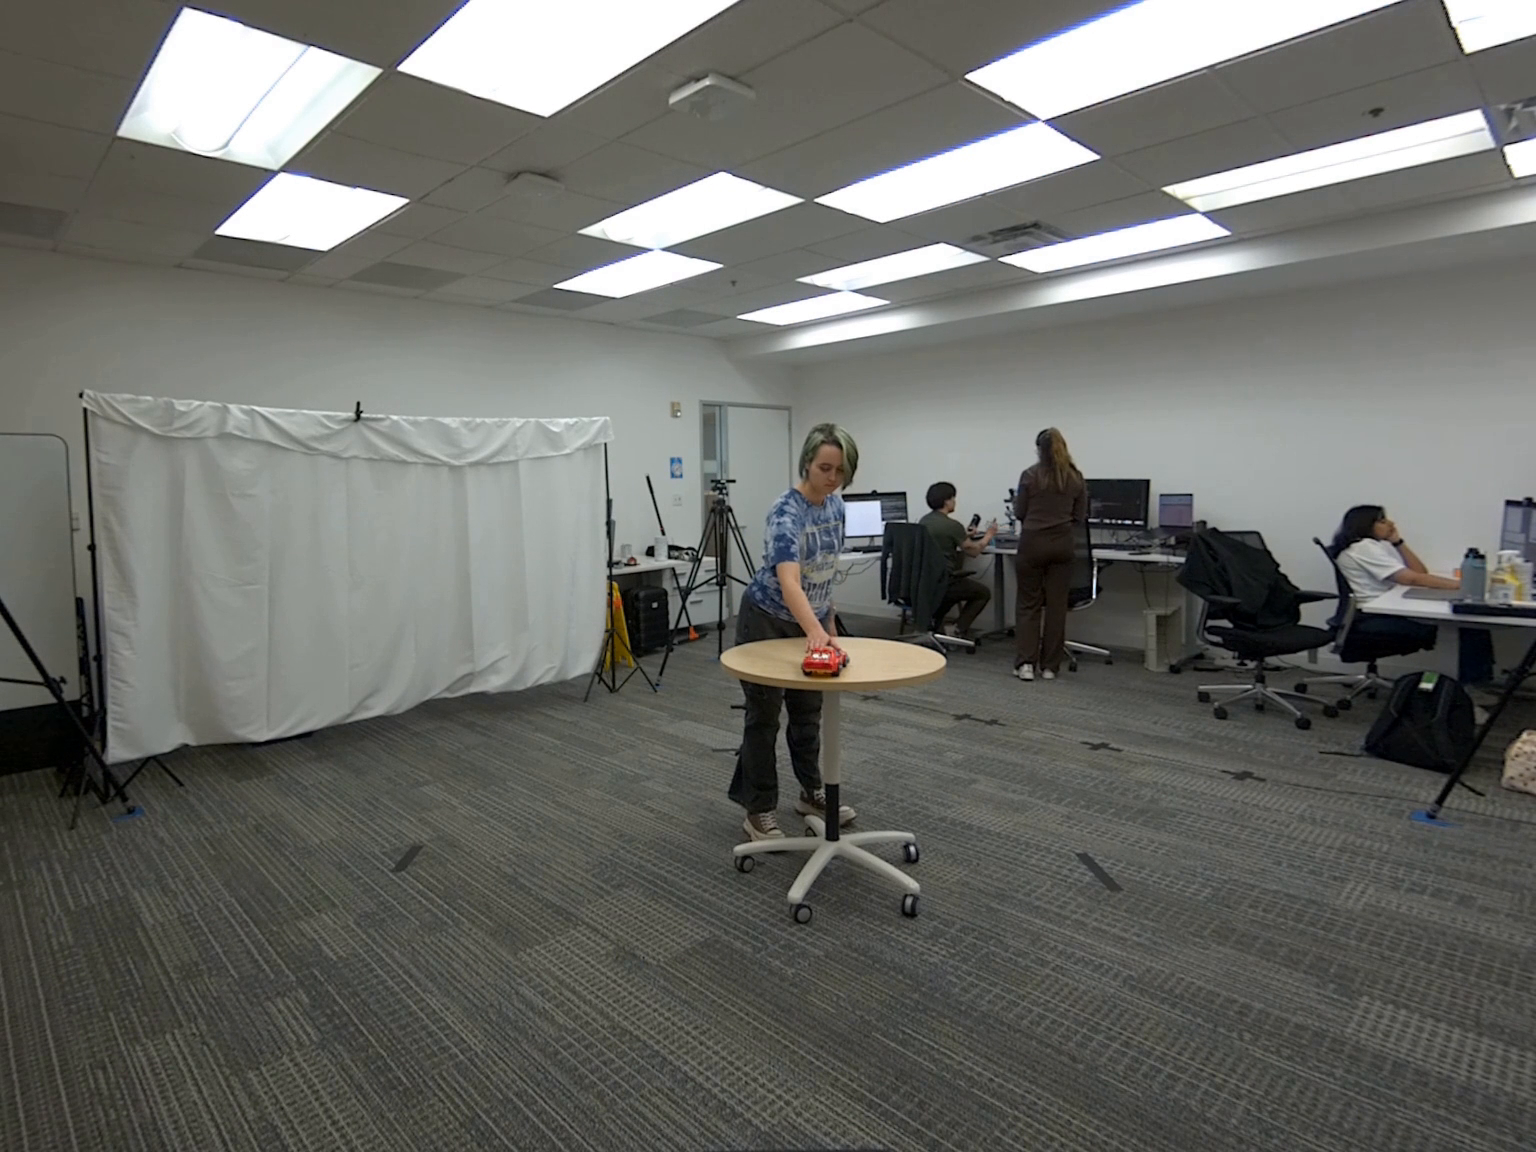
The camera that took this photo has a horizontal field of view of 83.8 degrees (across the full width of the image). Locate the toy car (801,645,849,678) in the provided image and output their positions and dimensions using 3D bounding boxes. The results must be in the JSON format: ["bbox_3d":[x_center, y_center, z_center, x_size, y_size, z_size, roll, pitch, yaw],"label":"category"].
[{"bbox_3d":[0.177,0.273,2.699,0.132,0.084,0.249,0,-6,15],"label":"toy car"}]
